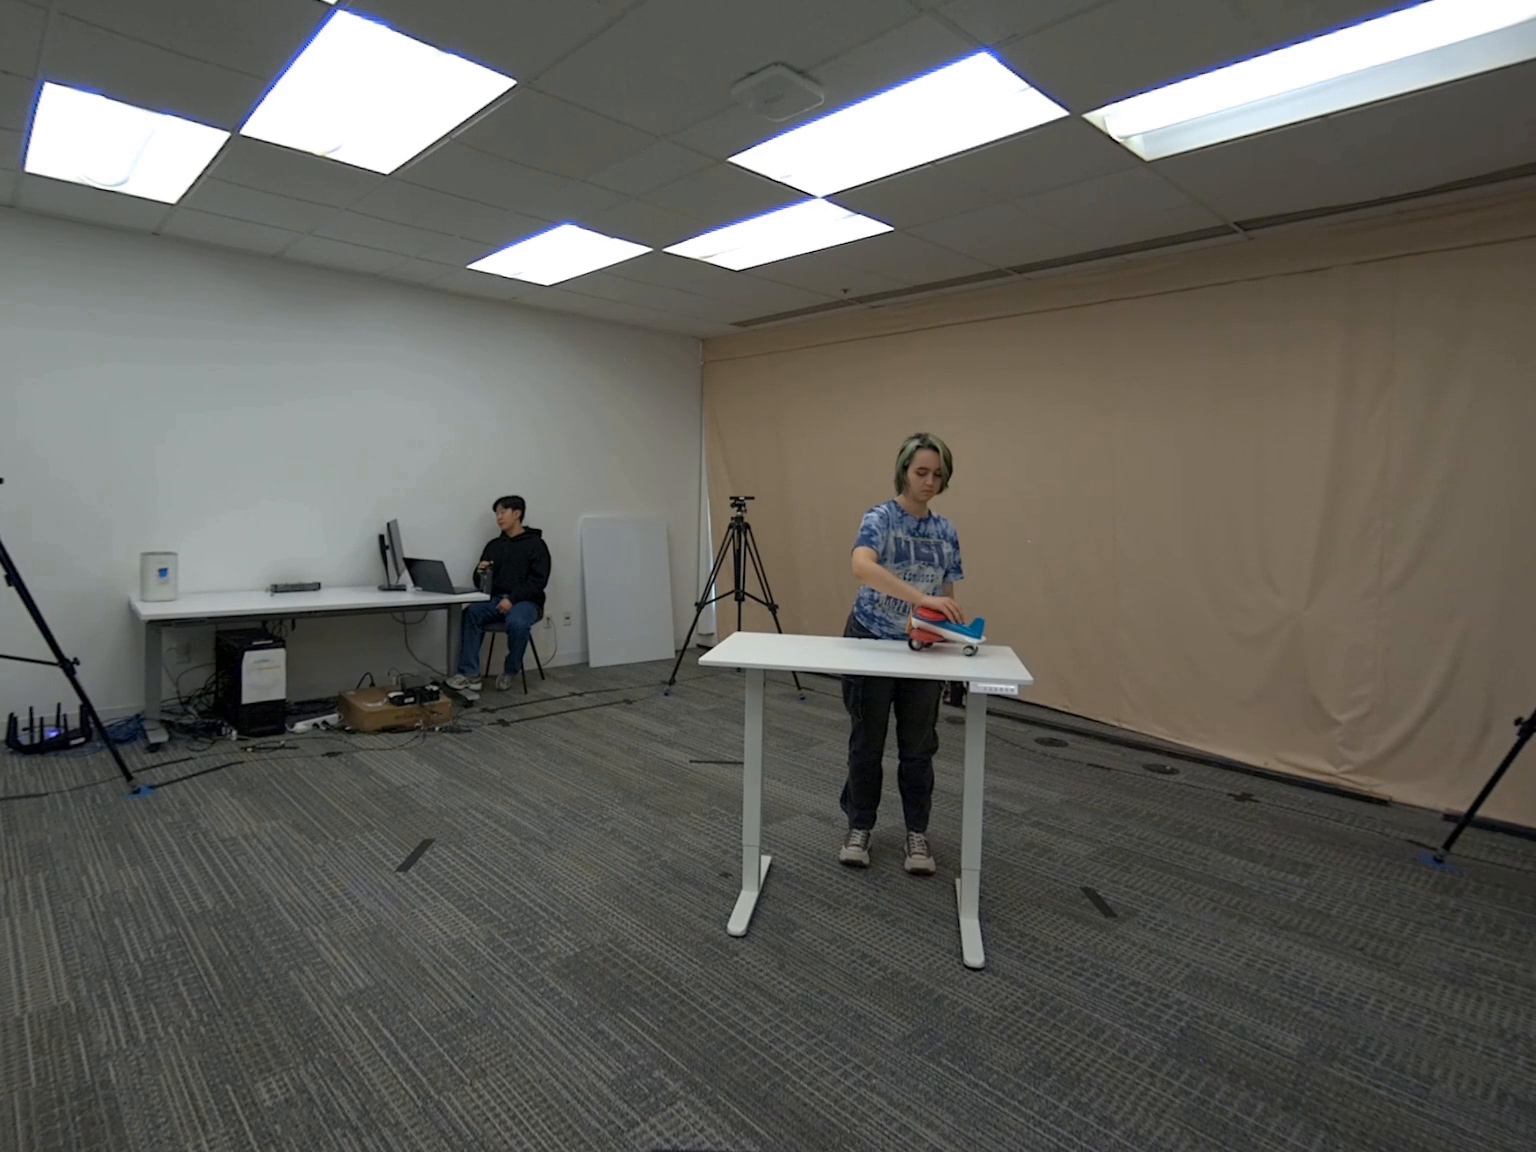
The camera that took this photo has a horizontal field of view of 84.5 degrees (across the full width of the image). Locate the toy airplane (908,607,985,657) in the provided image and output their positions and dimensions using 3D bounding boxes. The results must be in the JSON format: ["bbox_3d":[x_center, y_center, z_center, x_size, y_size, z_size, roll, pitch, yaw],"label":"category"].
[{"bbox_3d":[0.598,0.182,2.890,0.260,0.156,0.250,2,3,5],"label":"toy airplane"}]
